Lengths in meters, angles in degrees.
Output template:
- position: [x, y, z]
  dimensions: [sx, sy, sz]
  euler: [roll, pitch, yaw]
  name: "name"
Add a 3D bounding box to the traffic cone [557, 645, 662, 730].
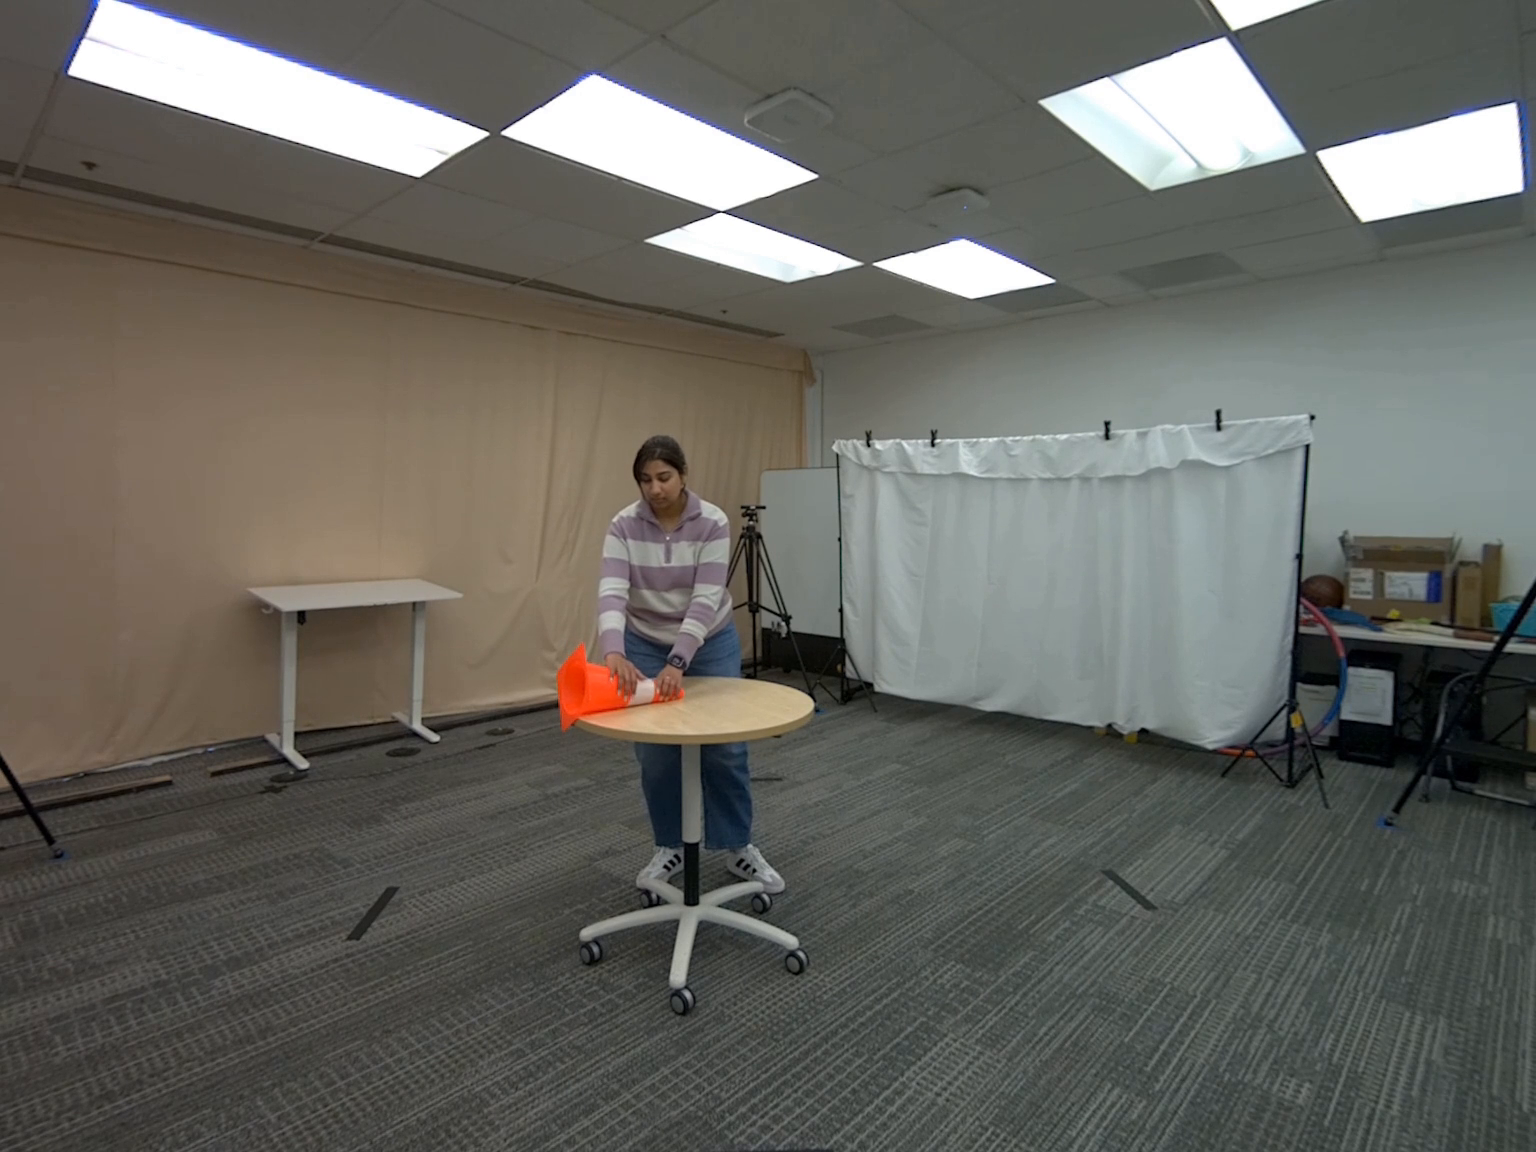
- position: [-0.415, 0.355, 2.573]
  dimensions: [0.371, 0.209, 0.205]
  euler: [14, -41, -35]
  name: "traffic cone"
